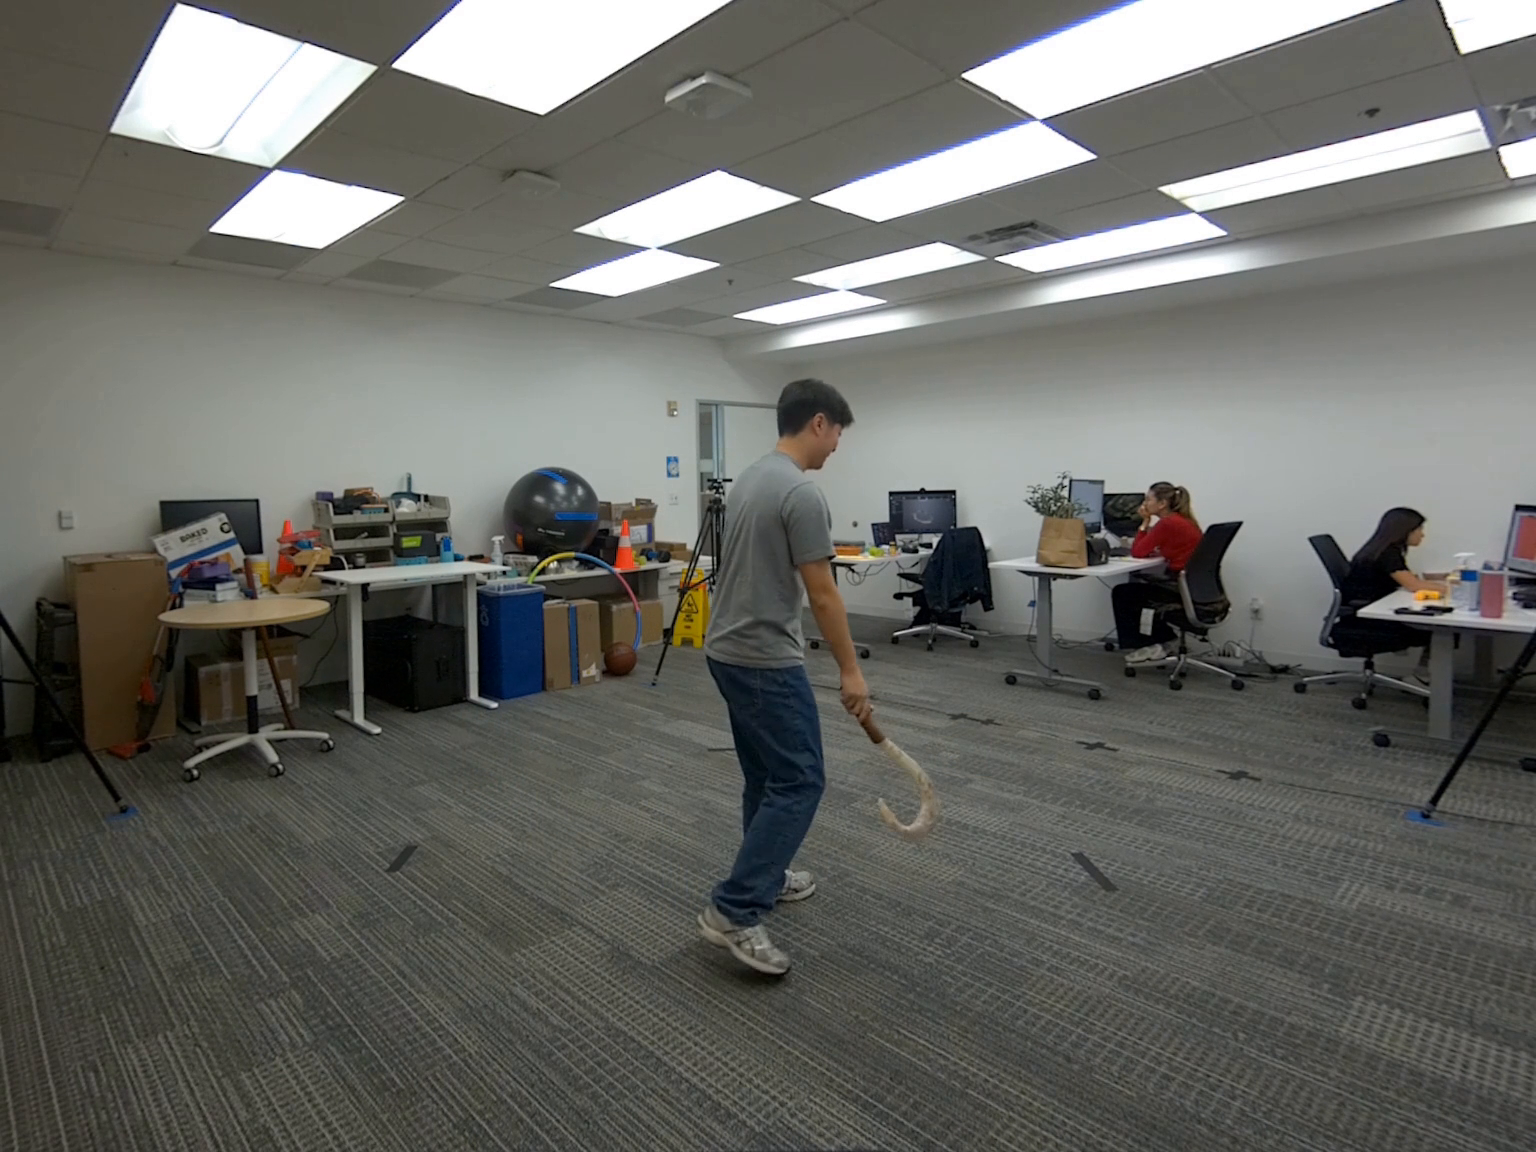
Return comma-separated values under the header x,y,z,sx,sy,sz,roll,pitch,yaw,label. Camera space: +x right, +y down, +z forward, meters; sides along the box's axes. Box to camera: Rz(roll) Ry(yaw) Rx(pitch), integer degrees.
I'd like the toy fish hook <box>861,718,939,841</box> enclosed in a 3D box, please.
x,y,z,sx,sy,sz,roll,pitch,yaw,label
0.326,0.556,2.528,0.049,0.505,0.223,-33,4,46,toy fish hook
